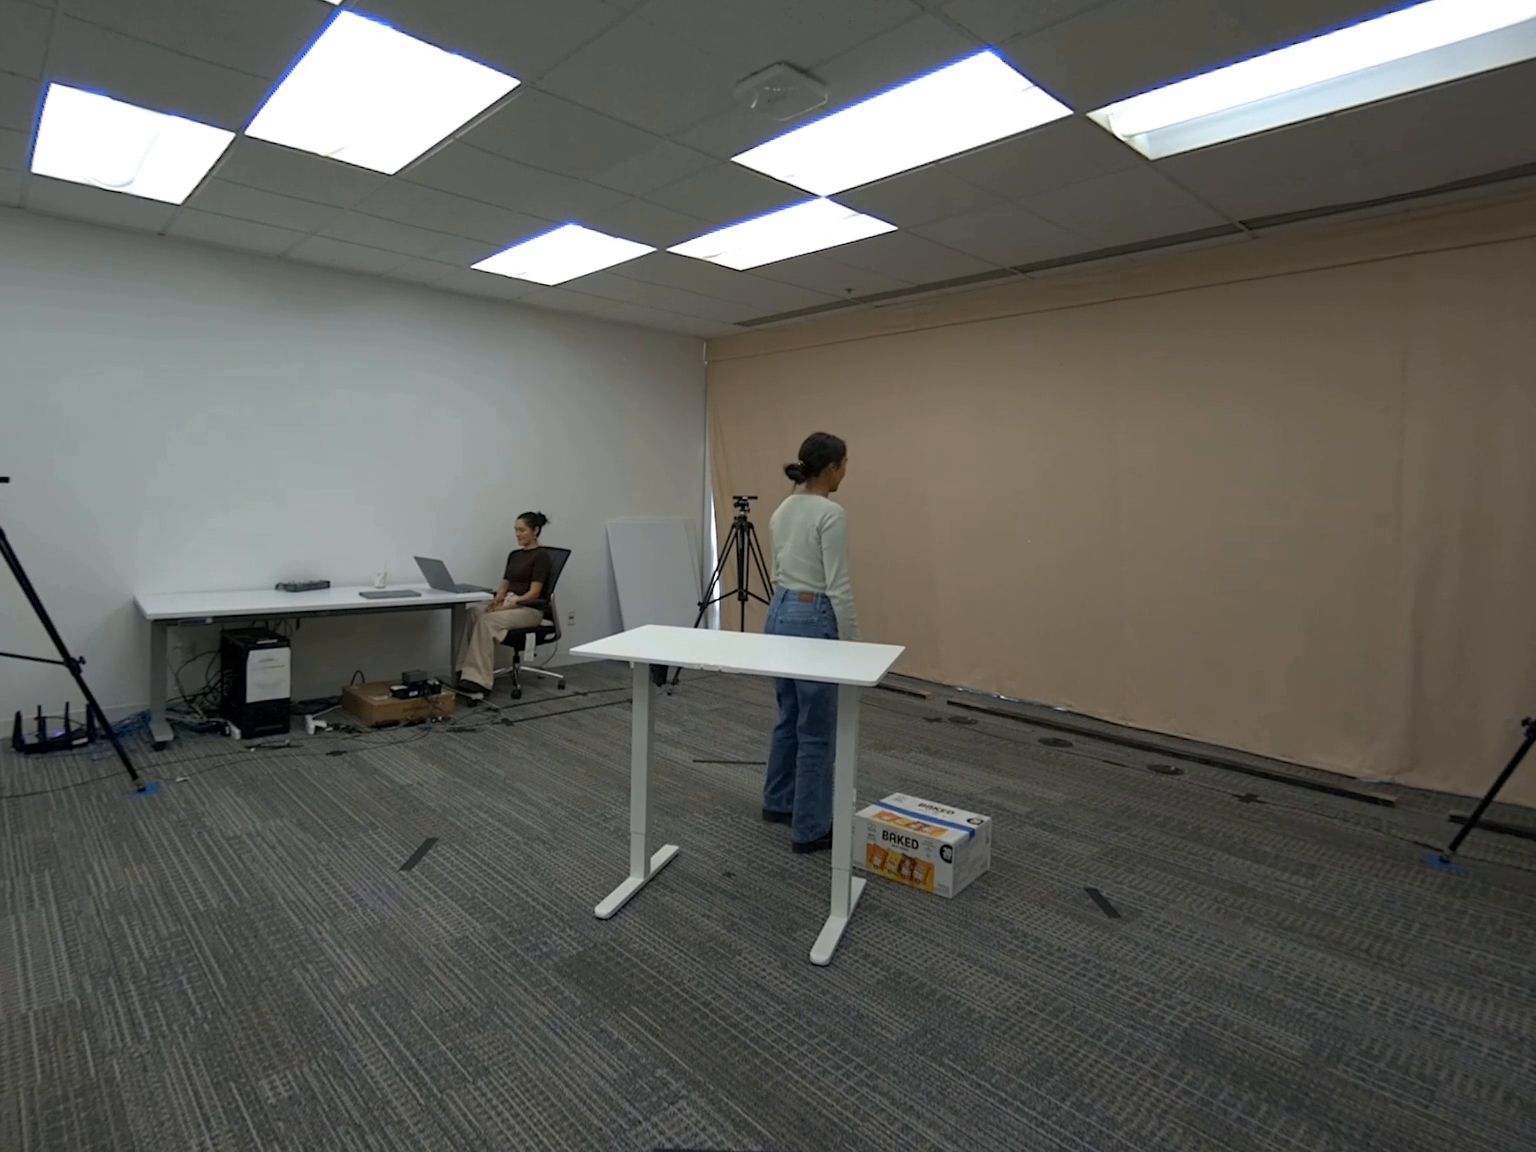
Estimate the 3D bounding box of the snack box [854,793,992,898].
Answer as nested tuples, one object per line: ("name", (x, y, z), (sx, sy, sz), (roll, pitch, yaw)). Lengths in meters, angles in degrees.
("snack box", (0.577, 1.012, 3.196), (0.415, 0.205, 0.333), (5, 6, 38))
